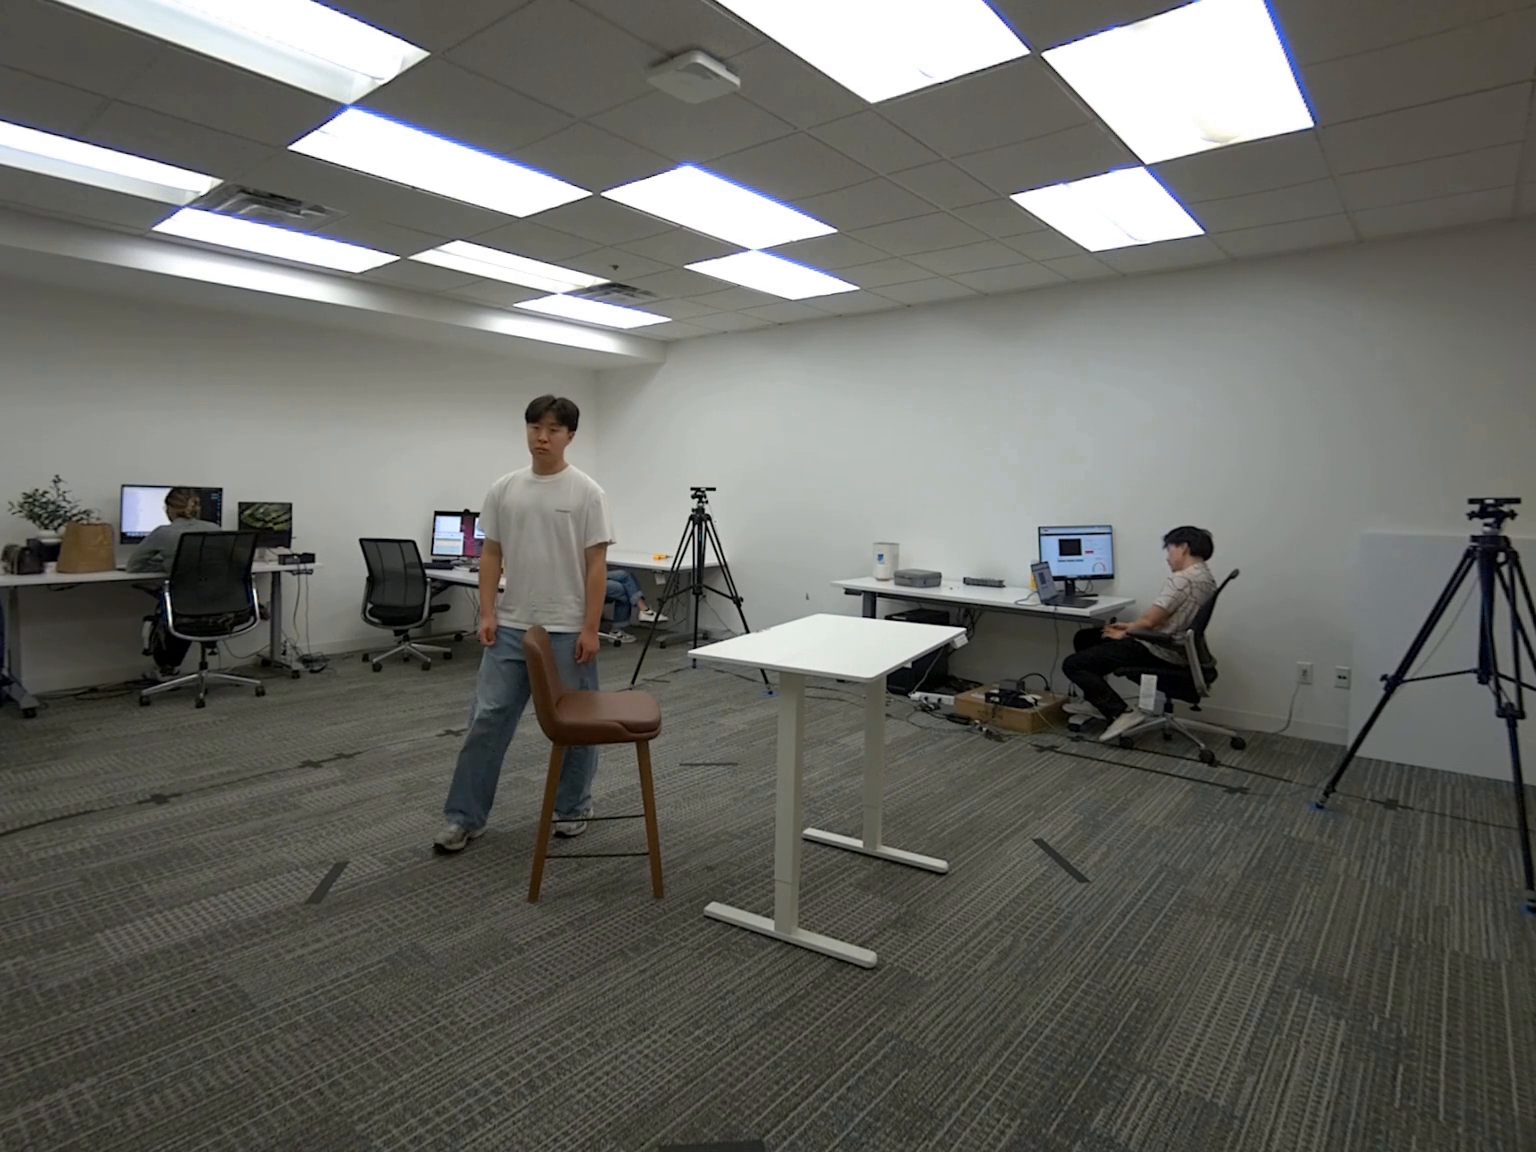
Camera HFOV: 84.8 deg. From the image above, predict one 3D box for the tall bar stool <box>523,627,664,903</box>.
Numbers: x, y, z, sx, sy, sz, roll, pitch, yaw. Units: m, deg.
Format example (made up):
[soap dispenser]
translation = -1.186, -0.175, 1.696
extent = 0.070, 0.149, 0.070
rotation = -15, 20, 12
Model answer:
[tall bar stool]
translation = -0.619, 0.634, 3.023
extent = 0.463, 0.888, 0.462
rotation = -1, 3, -9
